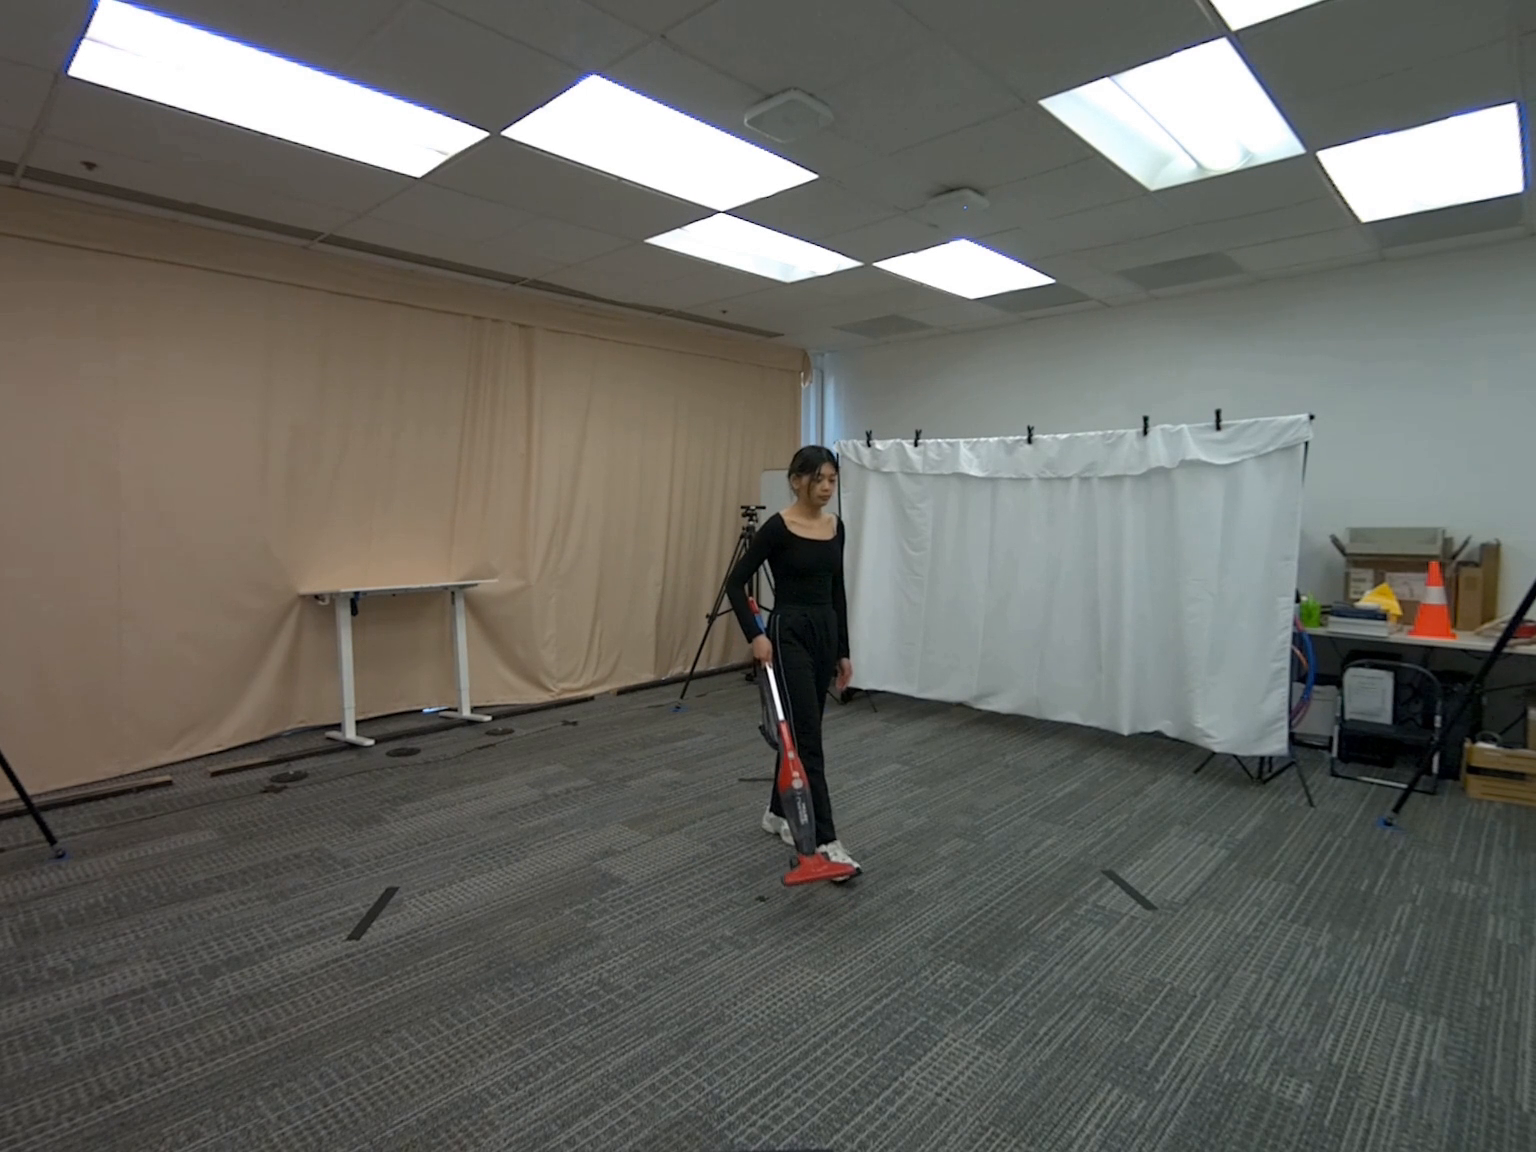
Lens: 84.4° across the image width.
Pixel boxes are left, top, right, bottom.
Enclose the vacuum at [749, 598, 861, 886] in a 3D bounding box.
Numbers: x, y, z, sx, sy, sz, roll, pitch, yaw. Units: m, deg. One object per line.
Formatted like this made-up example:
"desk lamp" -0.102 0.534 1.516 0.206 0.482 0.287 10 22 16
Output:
"vacuum" 0.052 0.555 3.091 0.249 1.072 0.143 -6 -29 -14
